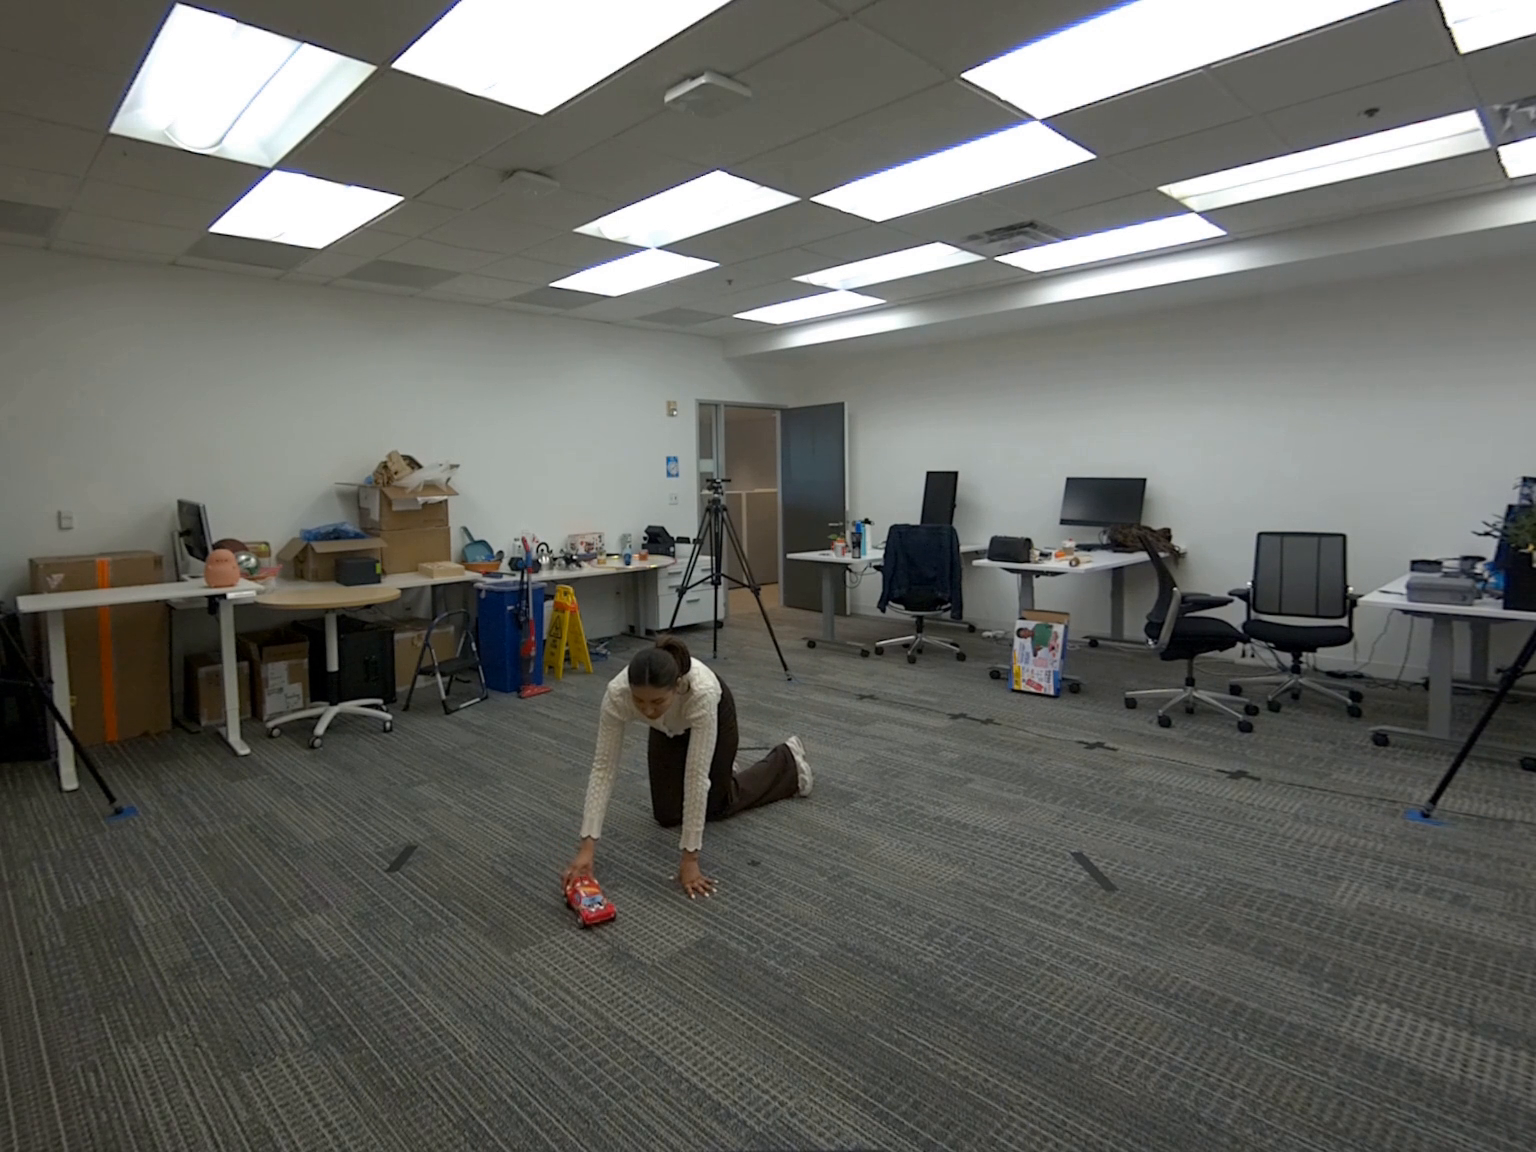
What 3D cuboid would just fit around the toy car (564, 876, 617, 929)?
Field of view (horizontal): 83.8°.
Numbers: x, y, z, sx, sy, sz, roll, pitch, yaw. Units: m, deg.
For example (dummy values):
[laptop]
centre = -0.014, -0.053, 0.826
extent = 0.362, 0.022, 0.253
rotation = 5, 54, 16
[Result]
[toy car]
centre = -0.587, 1.060, 2.786
extent = 0.127, 0.082, 0.263
rotation = -4, 18, -28
